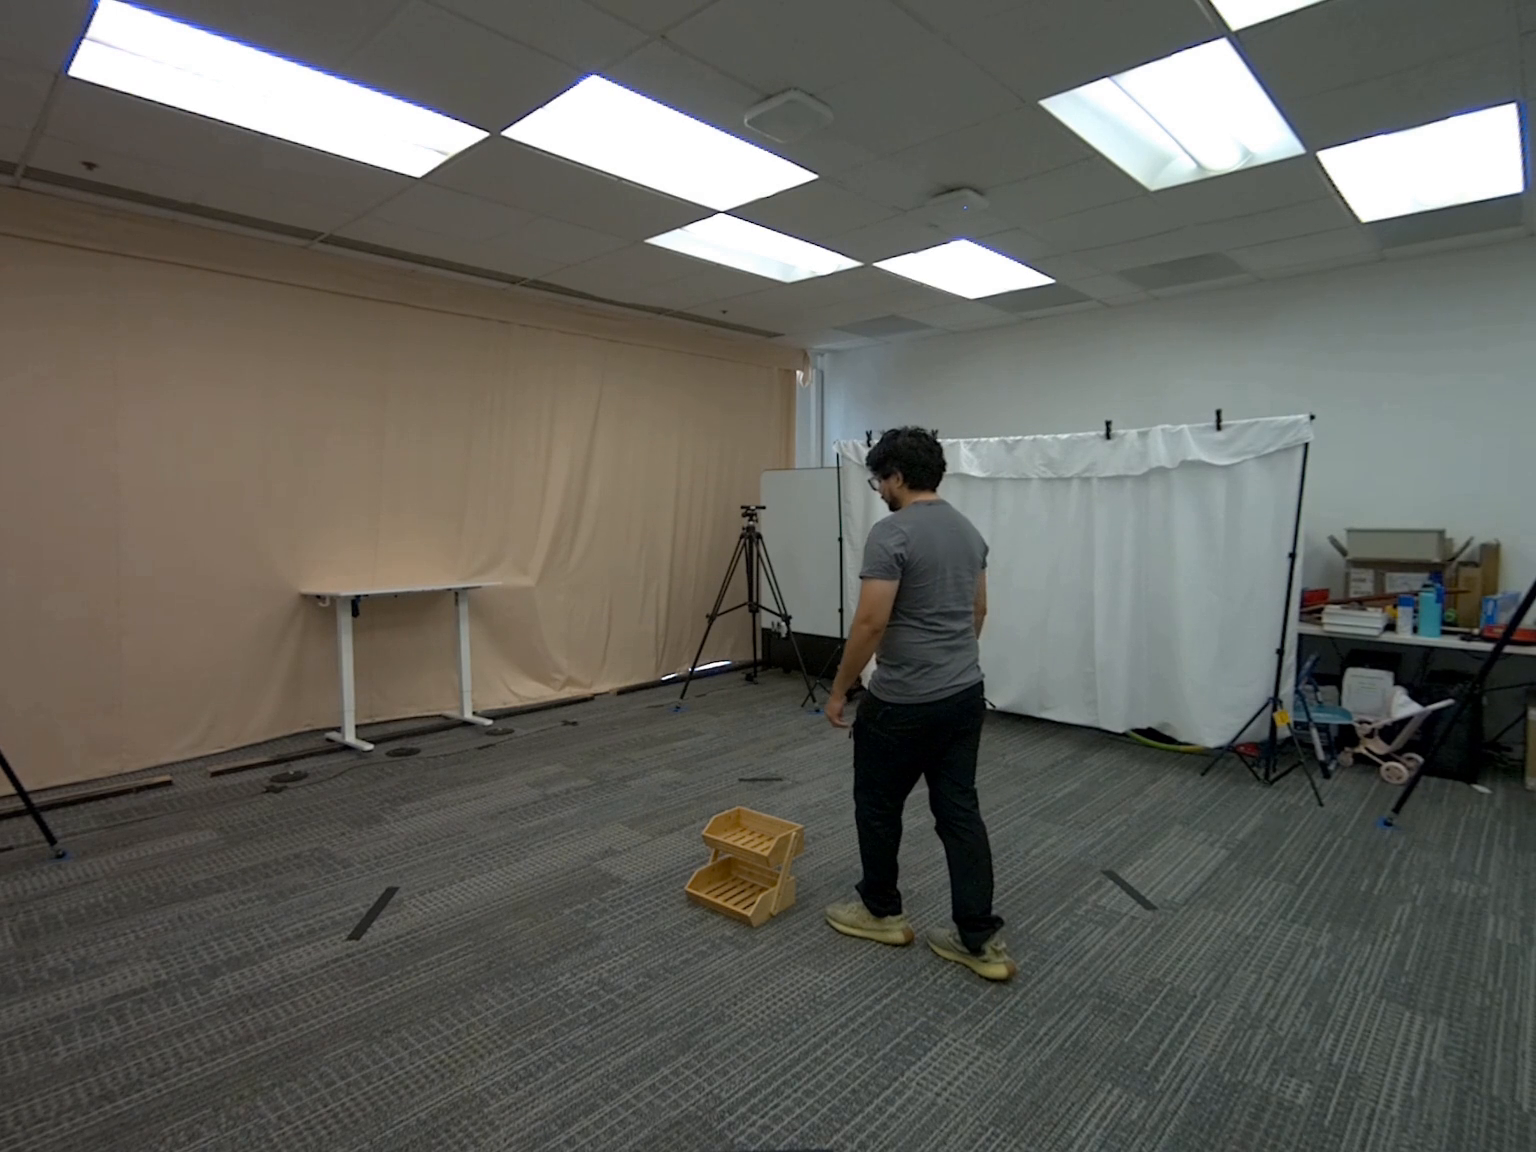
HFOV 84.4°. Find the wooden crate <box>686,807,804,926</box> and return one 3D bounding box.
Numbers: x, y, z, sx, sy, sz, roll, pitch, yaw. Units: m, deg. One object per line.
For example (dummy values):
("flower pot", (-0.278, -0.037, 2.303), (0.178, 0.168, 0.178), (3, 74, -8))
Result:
("wooden crate", (-0.081, 1.012, 2.967), (0.335, 0.273, 0.293), (3, 5, 40))
